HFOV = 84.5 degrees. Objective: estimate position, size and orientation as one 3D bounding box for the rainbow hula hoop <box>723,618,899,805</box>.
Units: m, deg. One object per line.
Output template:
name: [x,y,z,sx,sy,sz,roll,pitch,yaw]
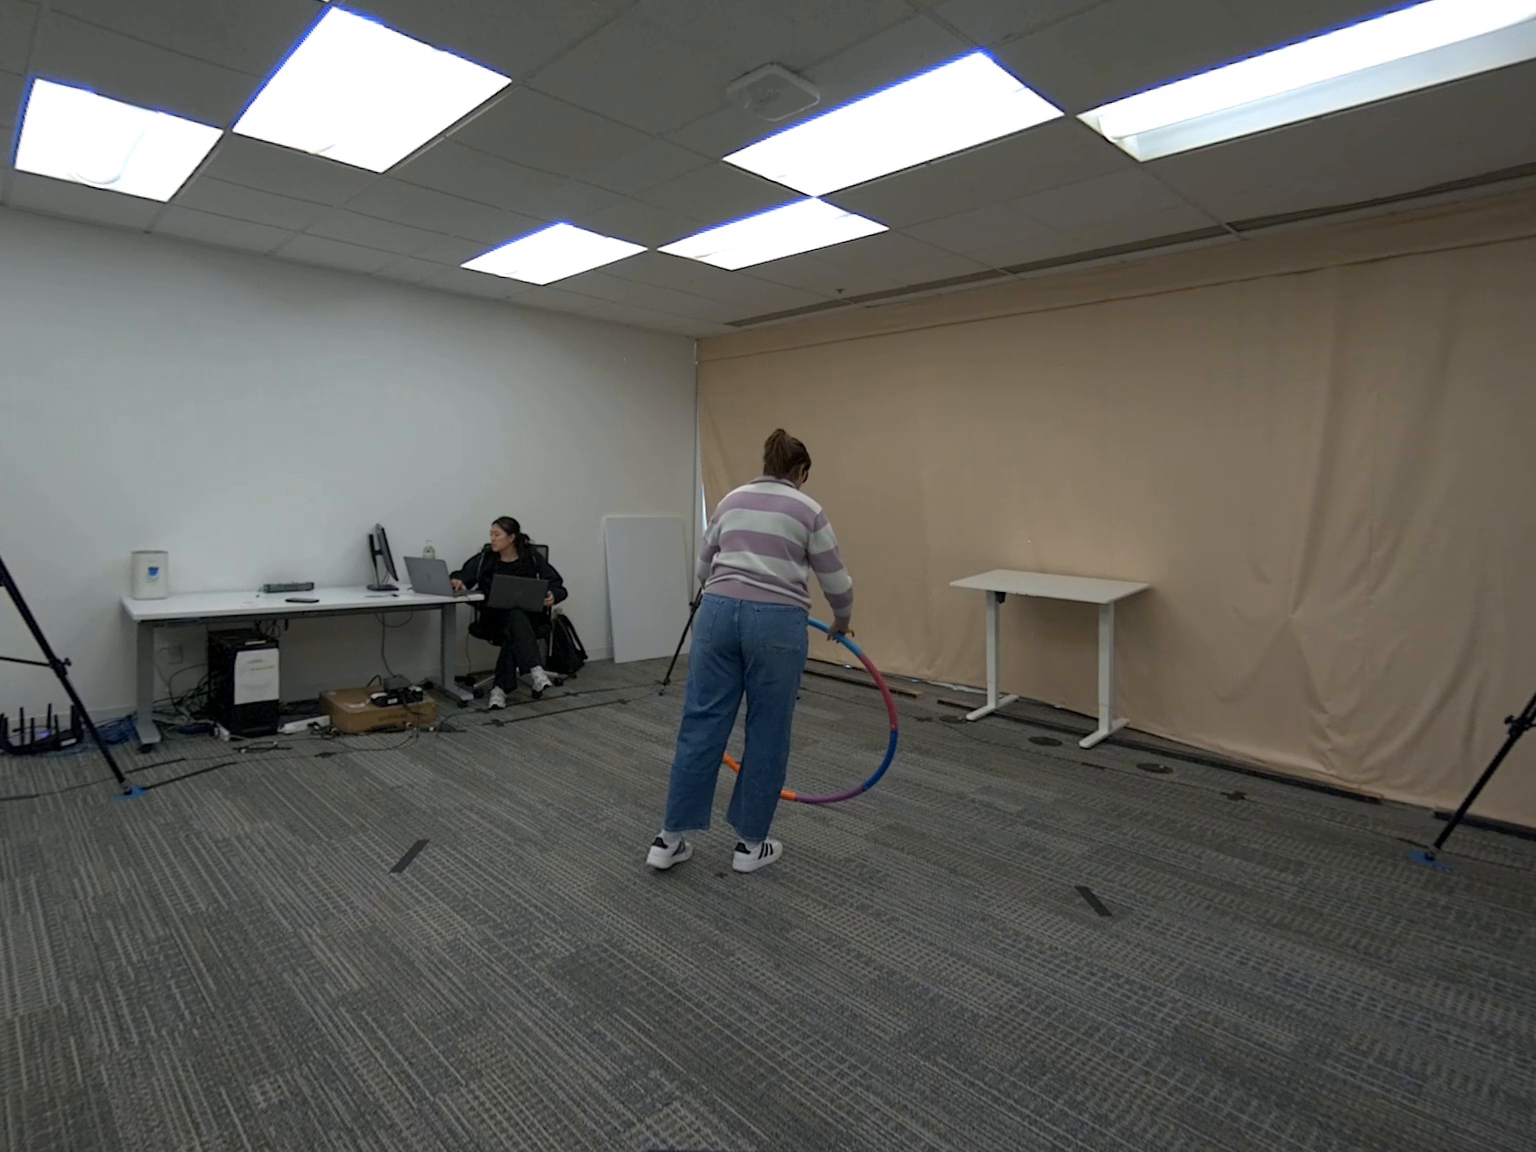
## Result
rainbow hula hoop: [0.085,0.596,3.729,0.998,0.962,0.035,4,23,27]
